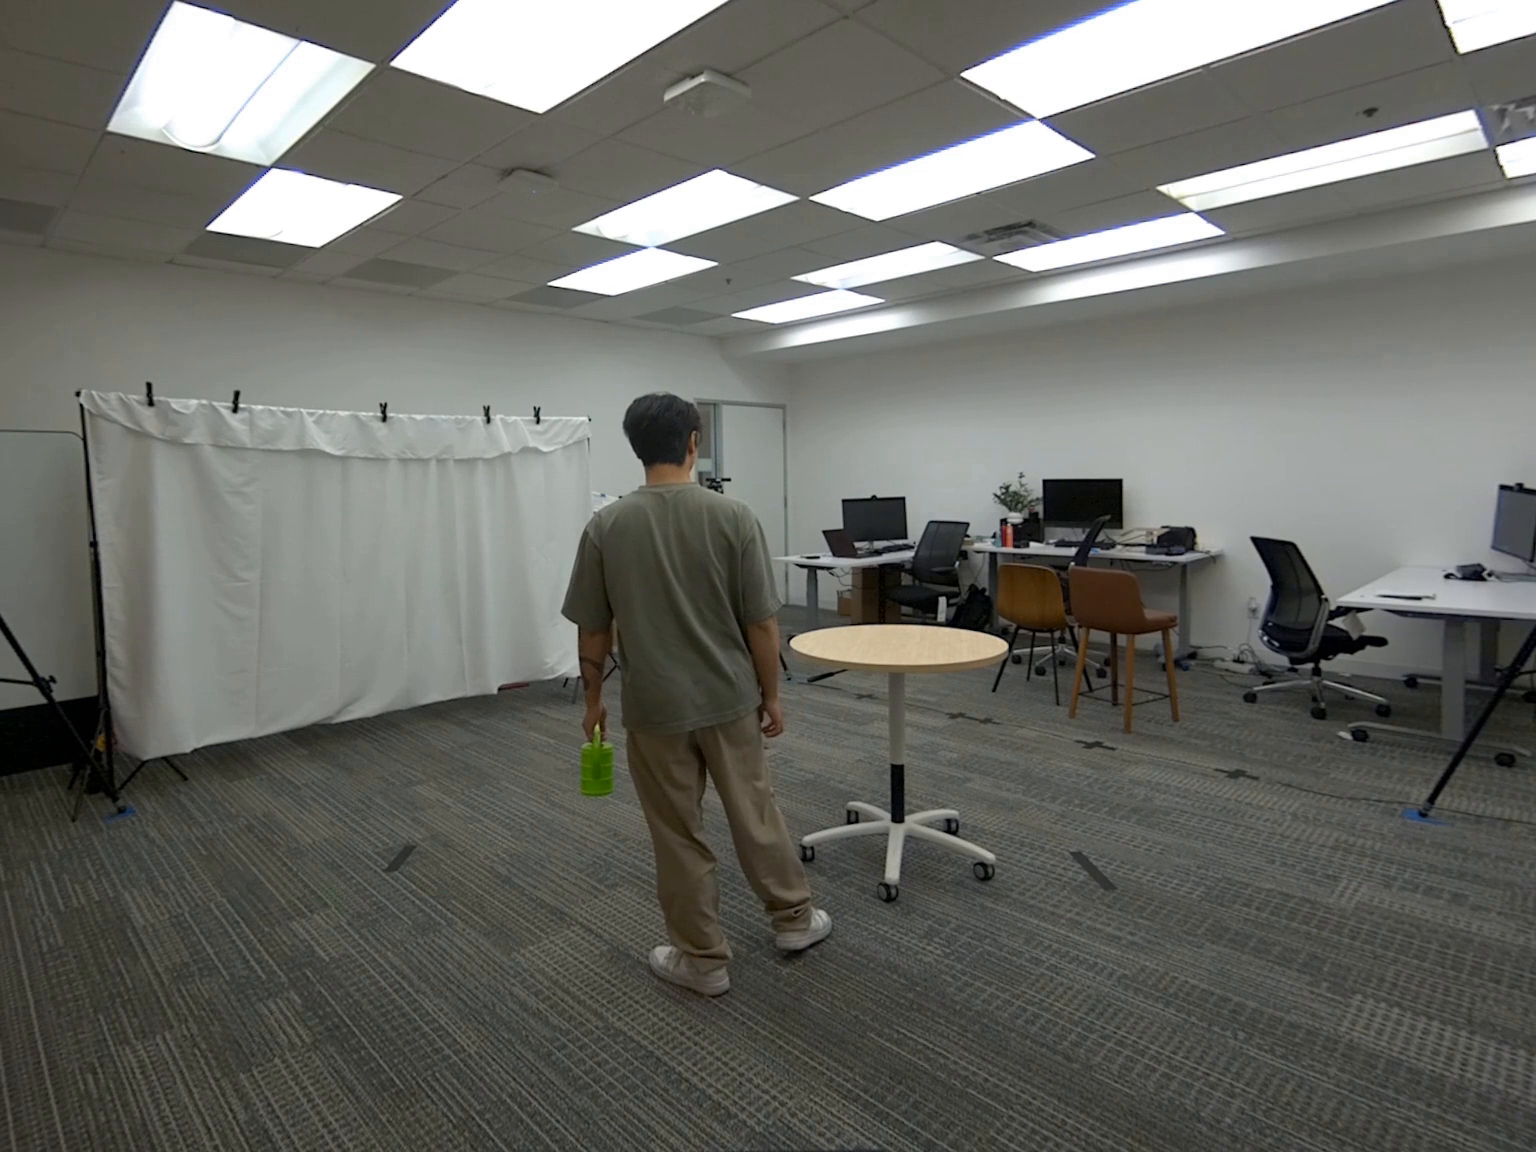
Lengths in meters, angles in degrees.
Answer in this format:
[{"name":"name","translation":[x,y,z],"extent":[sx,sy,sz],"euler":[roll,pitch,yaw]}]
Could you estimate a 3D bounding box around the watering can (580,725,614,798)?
[{"name":"watering can","translation":[-0.479,0.541,2.512],"extent":[0.098,0.178,0.276],"euler":[-3,-6,1]}]
